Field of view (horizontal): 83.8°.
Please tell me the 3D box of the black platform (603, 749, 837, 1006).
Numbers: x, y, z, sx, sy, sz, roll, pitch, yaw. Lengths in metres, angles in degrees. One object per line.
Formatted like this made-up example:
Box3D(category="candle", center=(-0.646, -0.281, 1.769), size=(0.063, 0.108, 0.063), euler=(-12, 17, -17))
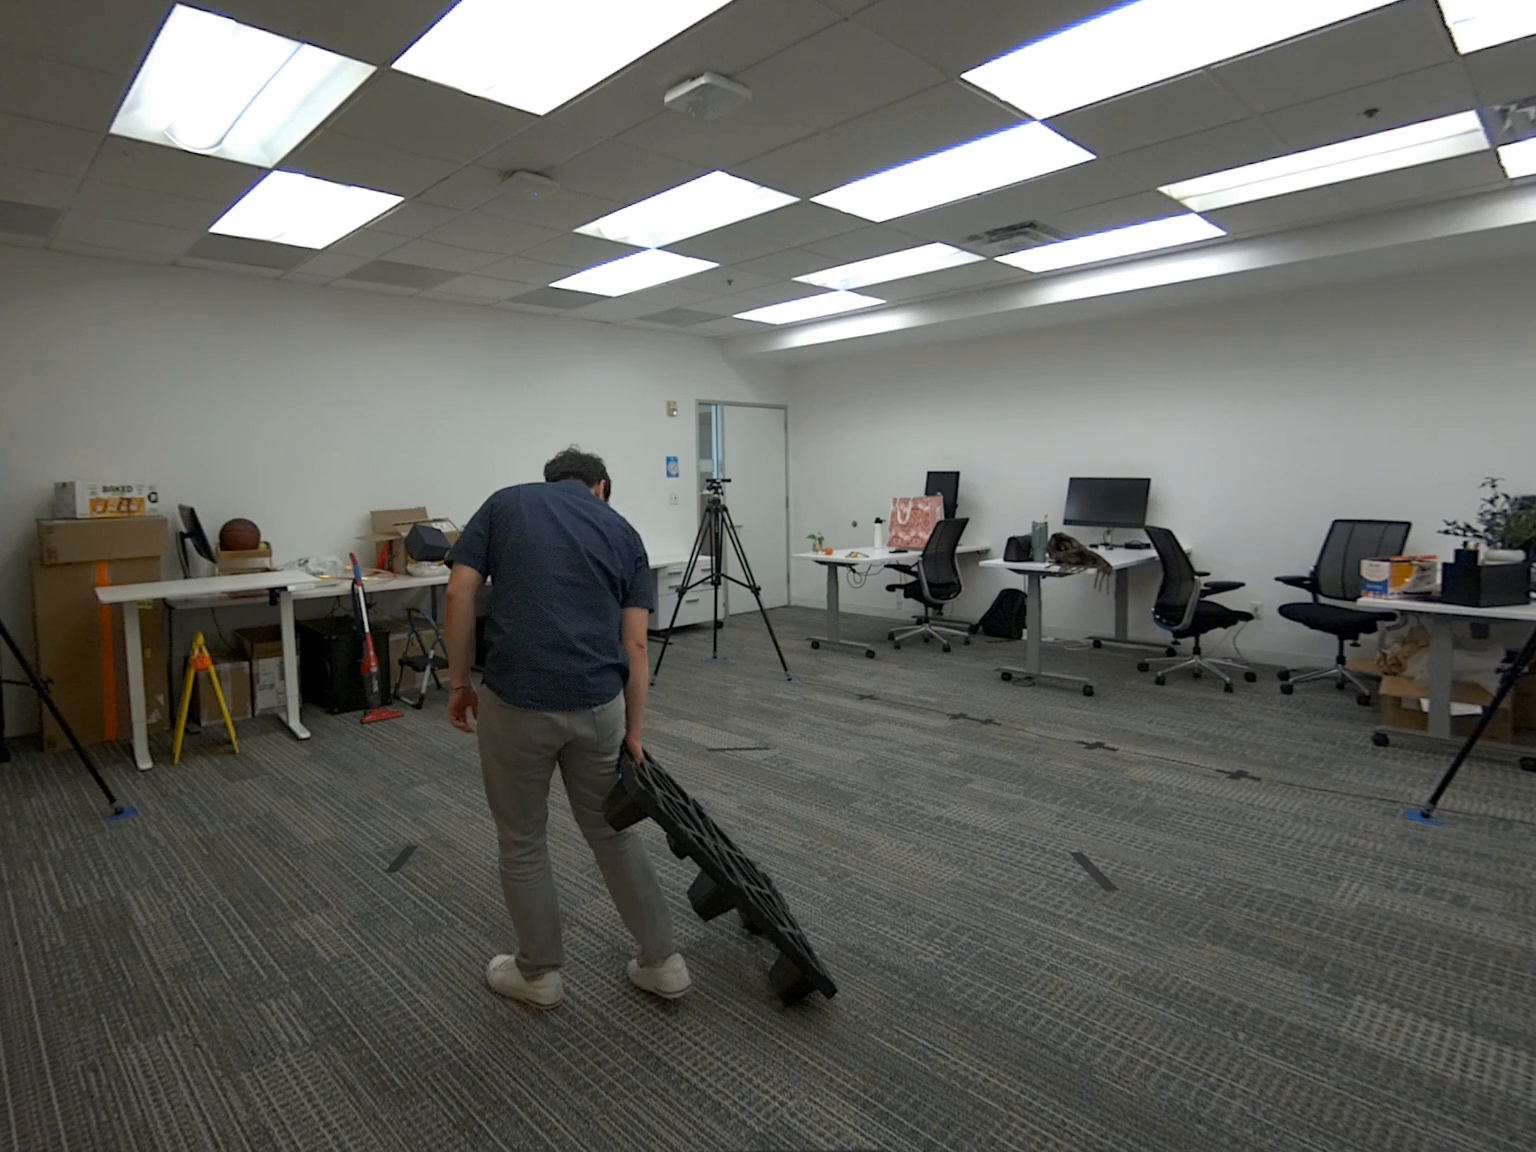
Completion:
Box3D(category="black platform", center=(-0.185, 0.804, 2.426), size=(0.143, 0.794, 0.615), euler=(-41, 12, -8))
